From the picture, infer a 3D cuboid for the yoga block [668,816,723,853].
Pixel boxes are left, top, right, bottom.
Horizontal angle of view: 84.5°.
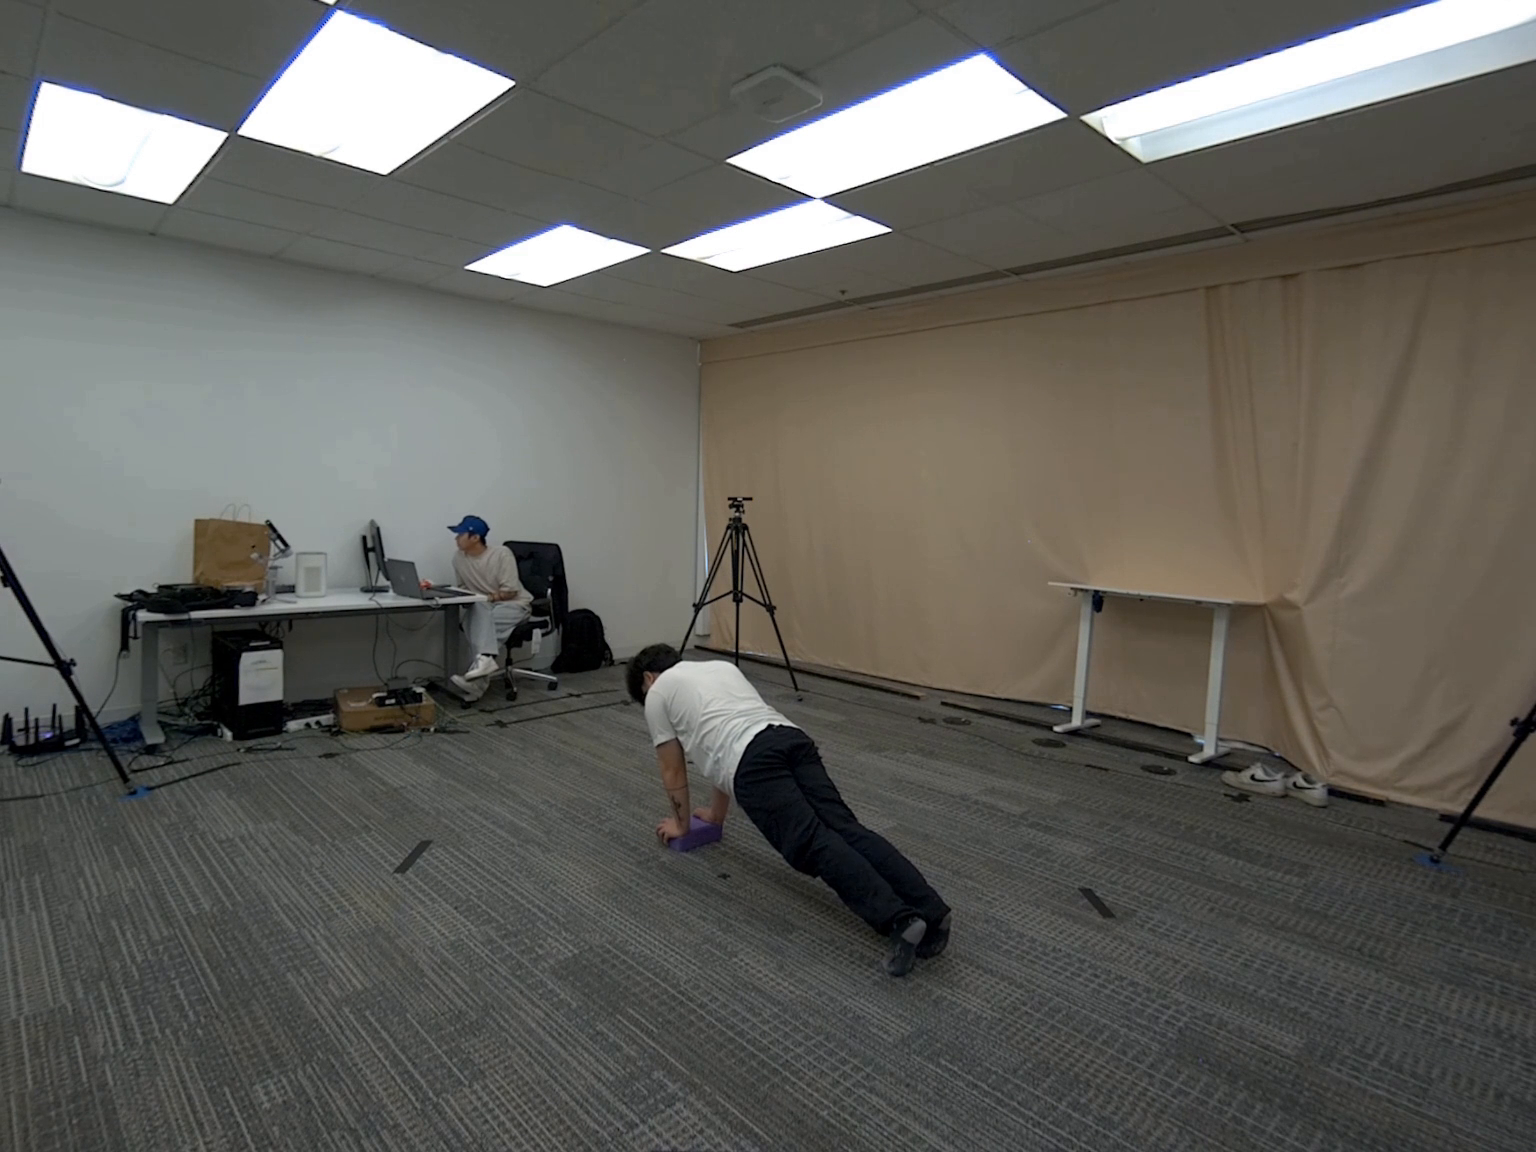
[{"bbox_3d":[-0.320,1.043,3.424,0.153,0.076,0.224,5,7,45],"label":"yoga block"}]
